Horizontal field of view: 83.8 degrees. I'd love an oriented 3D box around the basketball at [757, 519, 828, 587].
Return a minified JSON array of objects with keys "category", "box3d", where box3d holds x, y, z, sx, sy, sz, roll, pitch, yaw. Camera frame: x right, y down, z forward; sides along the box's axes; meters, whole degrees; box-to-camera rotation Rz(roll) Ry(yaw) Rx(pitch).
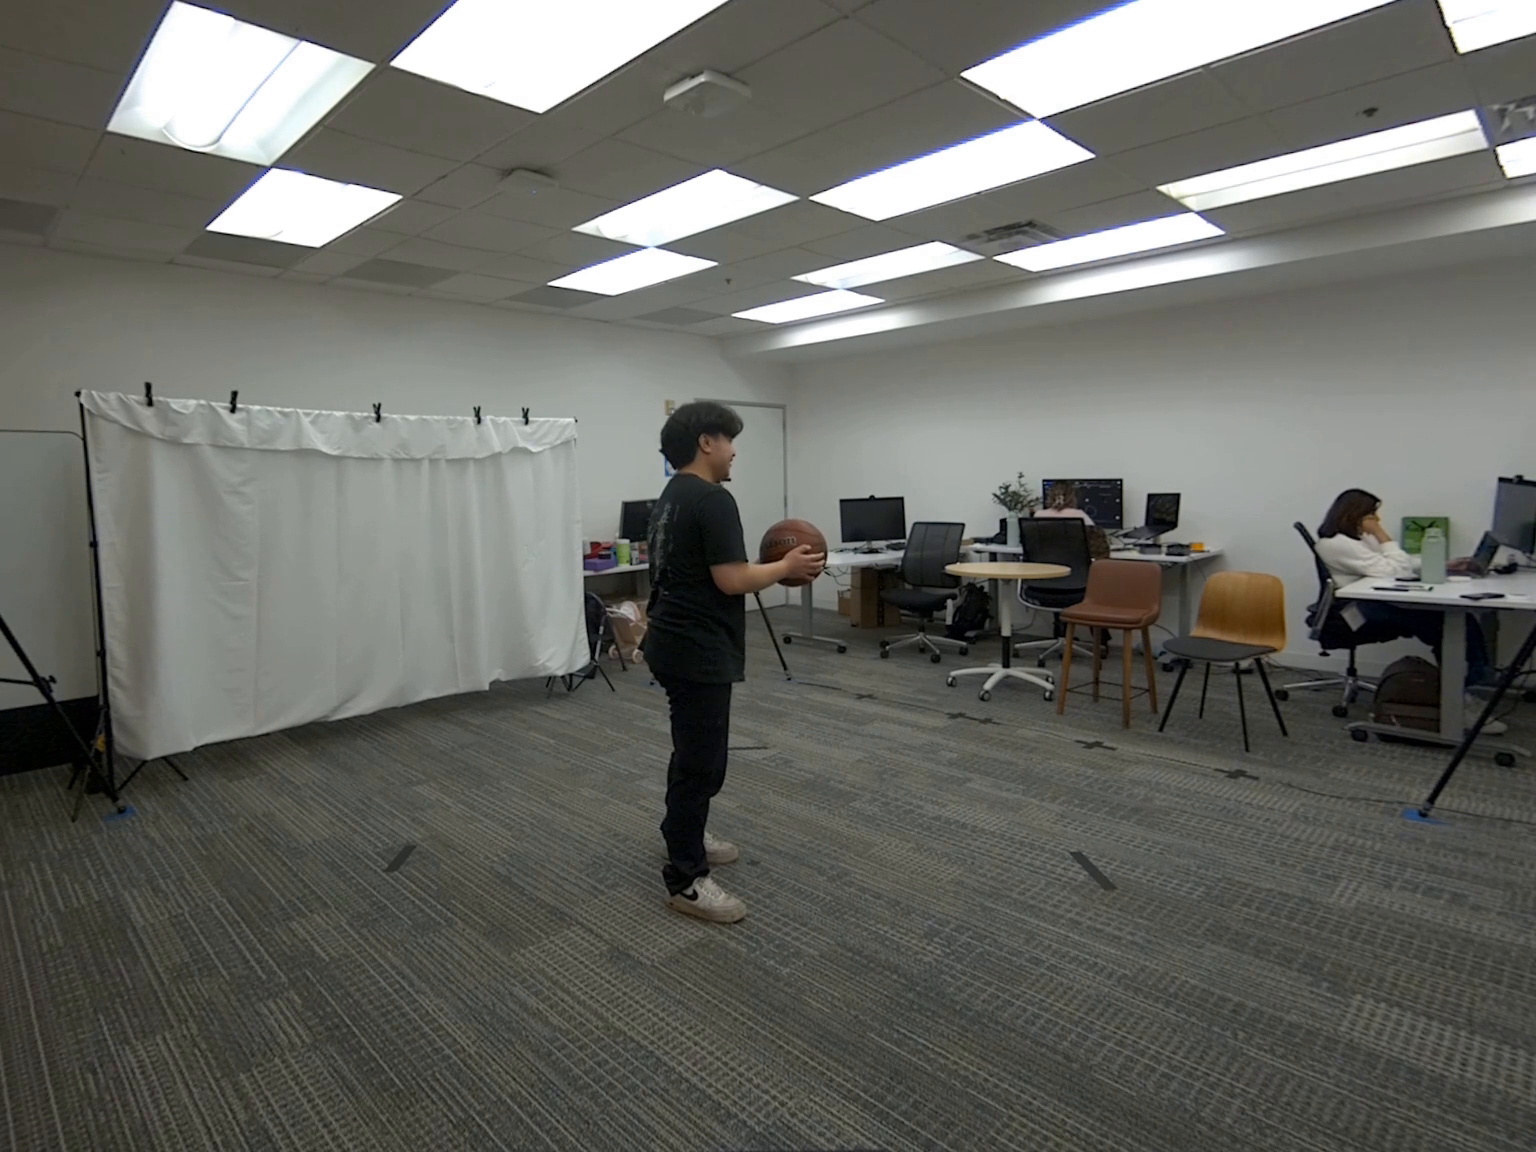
[{"category":"basketball","box3d":[0.089,-0.079,2.982,0.236,0.235,0.237,-1,5,-2]}]
